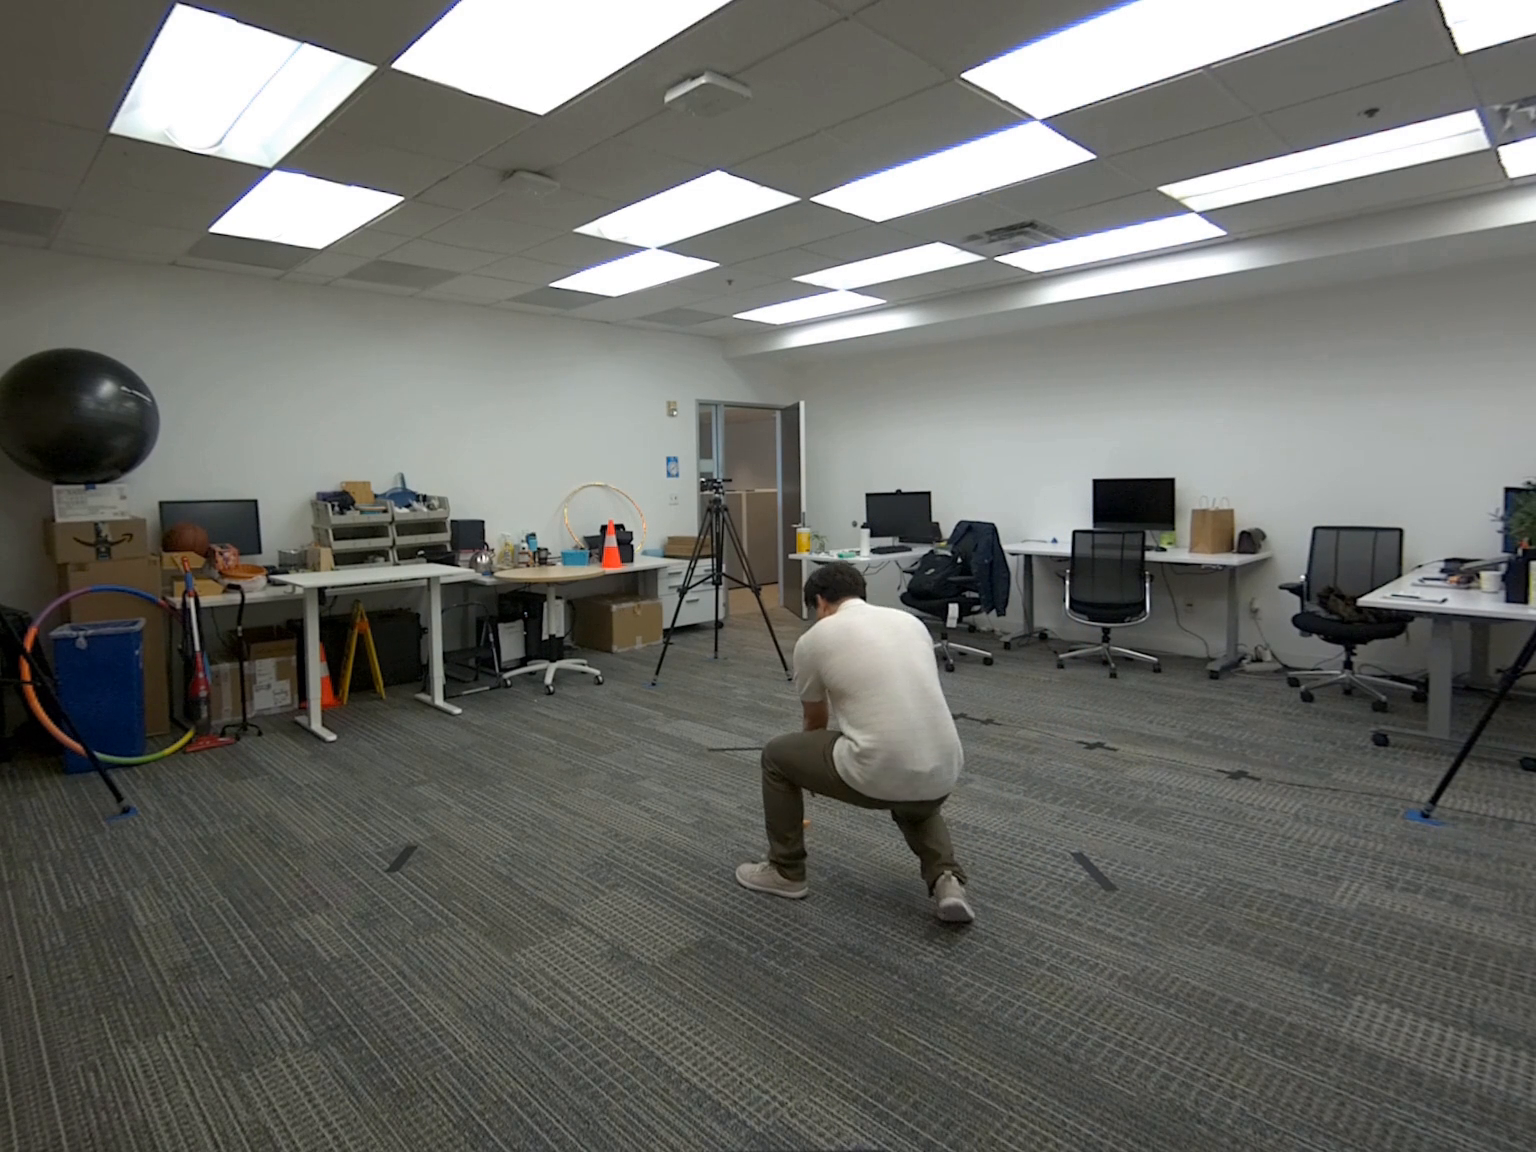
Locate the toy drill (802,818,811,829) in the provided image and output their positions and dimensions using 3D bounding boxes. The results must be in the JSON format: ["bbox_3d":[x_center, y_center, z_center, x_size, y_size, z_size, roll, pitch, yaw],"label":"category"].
[{"bbox_3d":[0.110,0.968,3.148,0.063,0.145,0.165,4,6,44],"label":"toy drill"}]
